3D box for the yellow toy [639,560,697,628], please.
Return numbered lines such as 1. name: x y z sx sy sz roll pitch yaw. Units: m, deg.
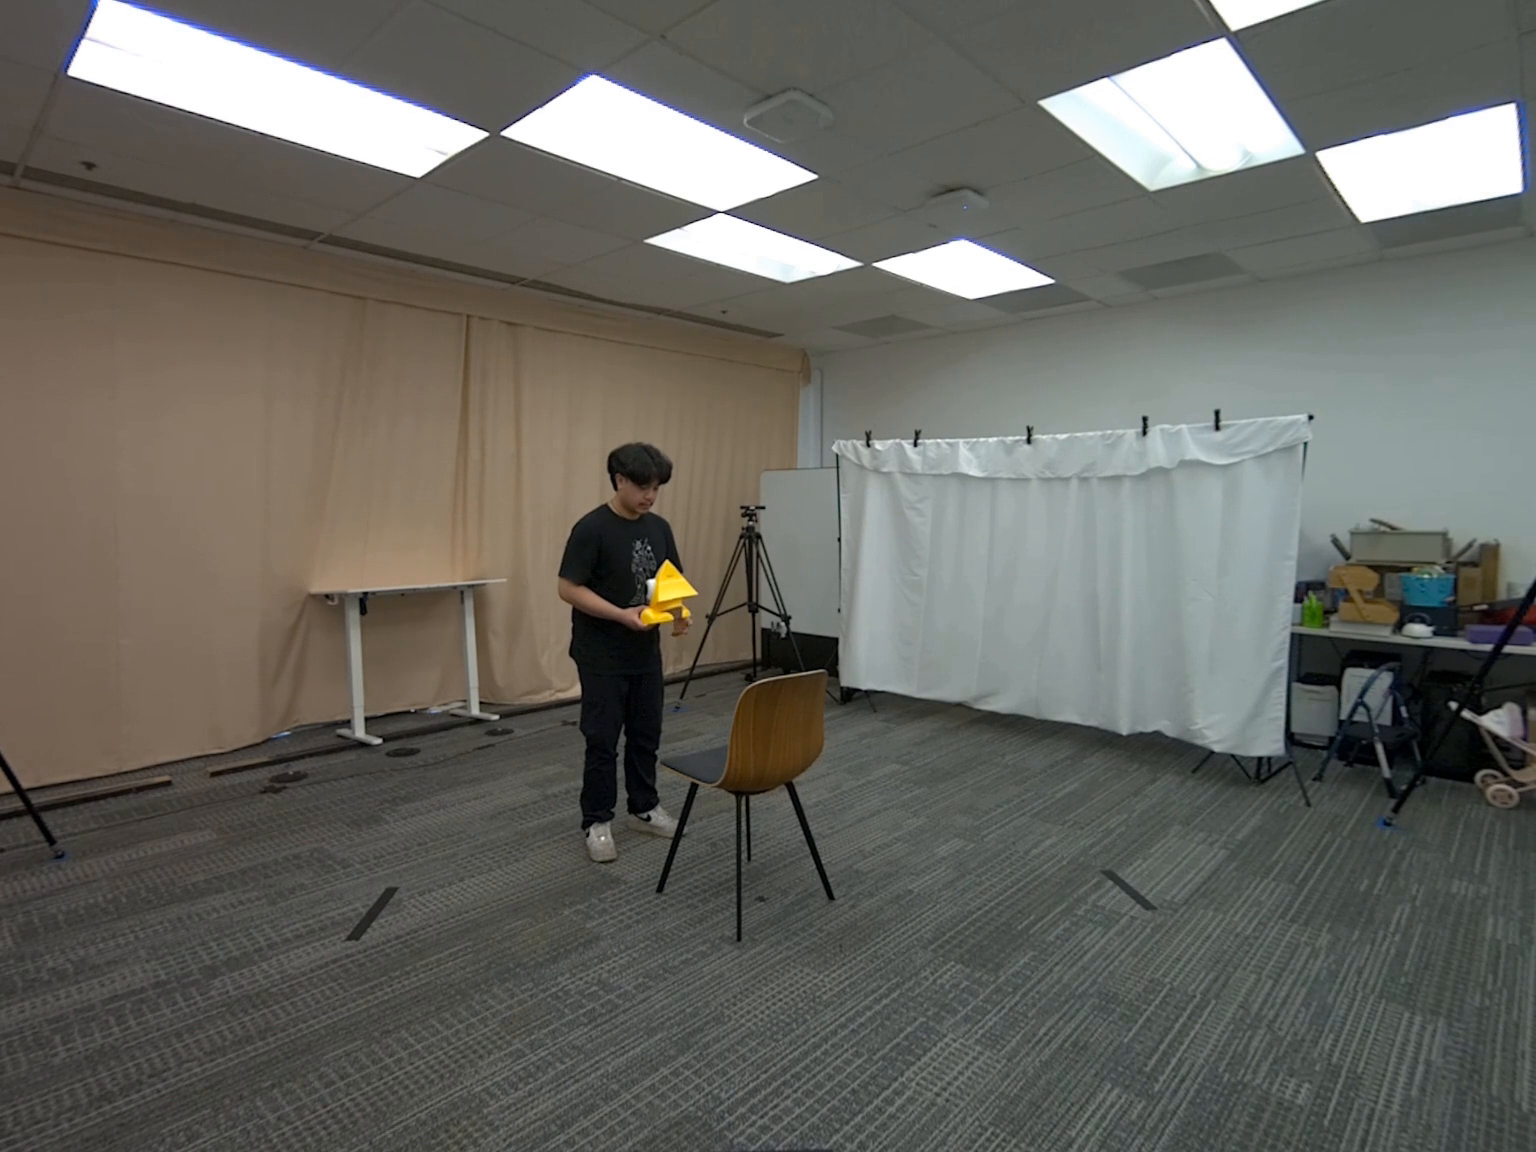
1. yellow toy: -0.417 0.059 3.285 0.198 0.231 0.199 -9 -1 43
